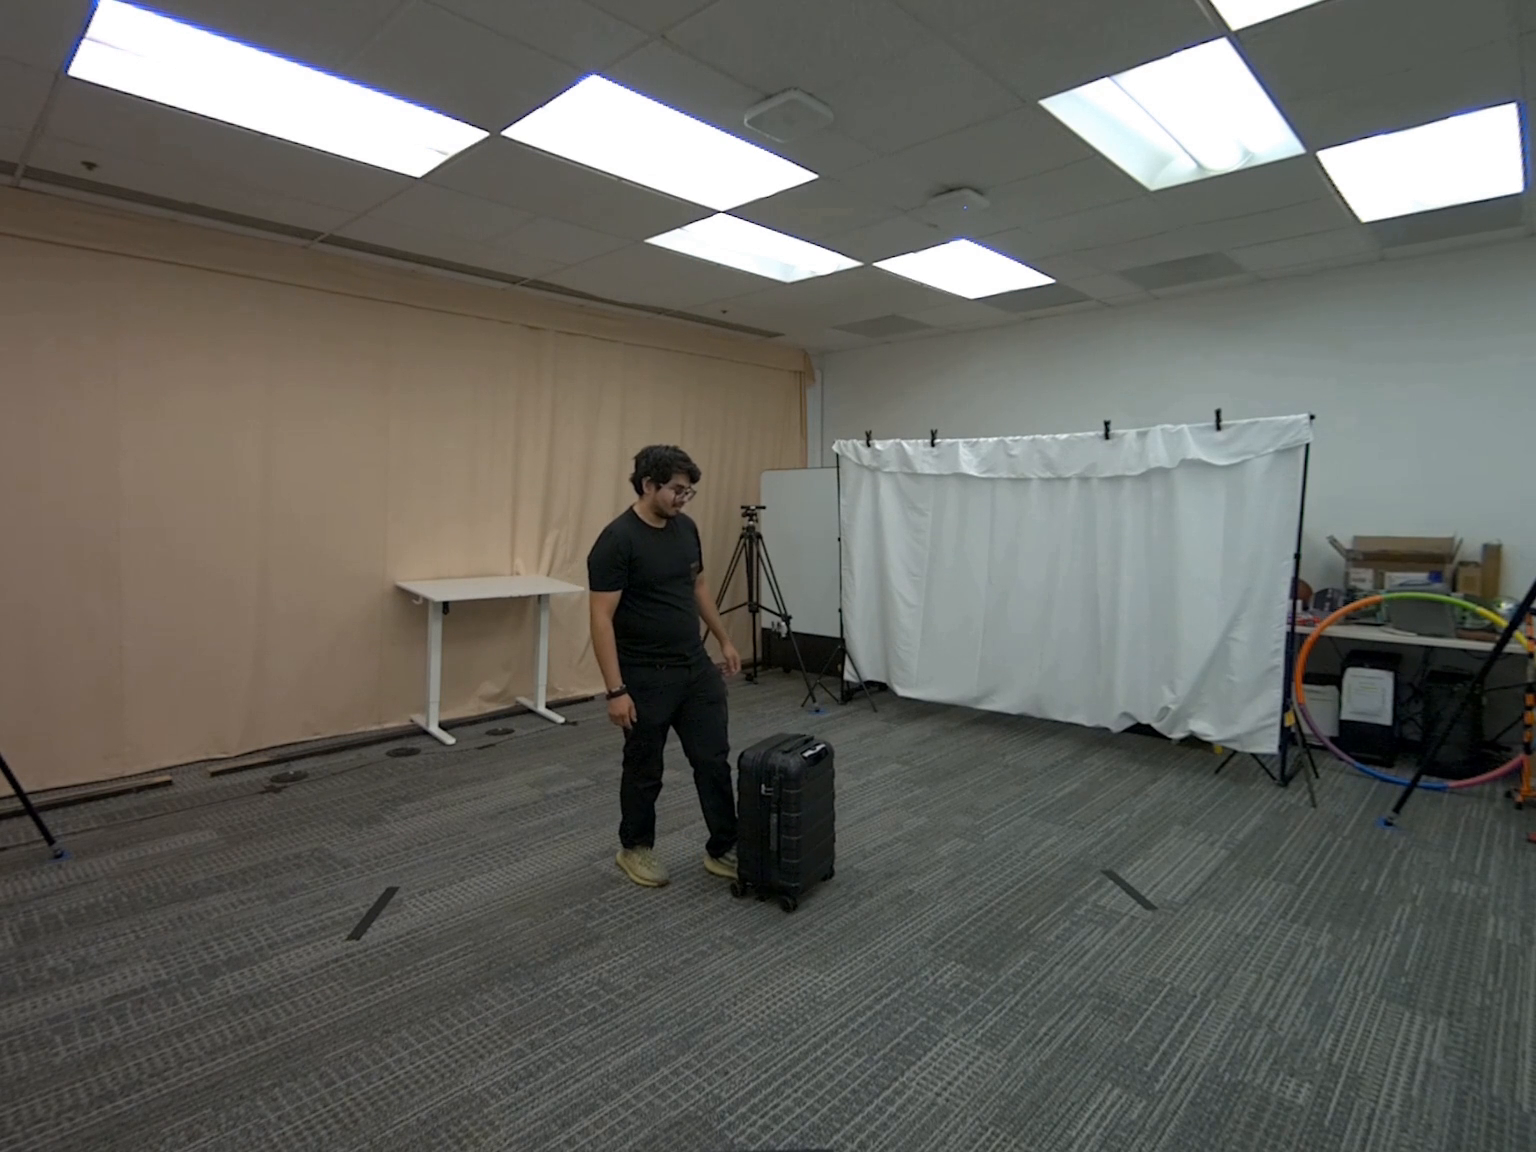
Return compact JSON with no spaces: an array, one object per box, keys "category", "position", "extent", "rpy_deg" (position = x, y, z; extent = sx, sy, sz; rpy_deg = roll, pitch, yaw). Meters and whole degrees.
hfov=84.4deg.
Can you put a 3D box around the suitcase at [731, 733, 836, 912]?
[{"category":"suitcase","position":[0.066,0.861,3.041],"extent":[0.256,0.548,0.365],"rpy_deg":[3,5,30]}]
